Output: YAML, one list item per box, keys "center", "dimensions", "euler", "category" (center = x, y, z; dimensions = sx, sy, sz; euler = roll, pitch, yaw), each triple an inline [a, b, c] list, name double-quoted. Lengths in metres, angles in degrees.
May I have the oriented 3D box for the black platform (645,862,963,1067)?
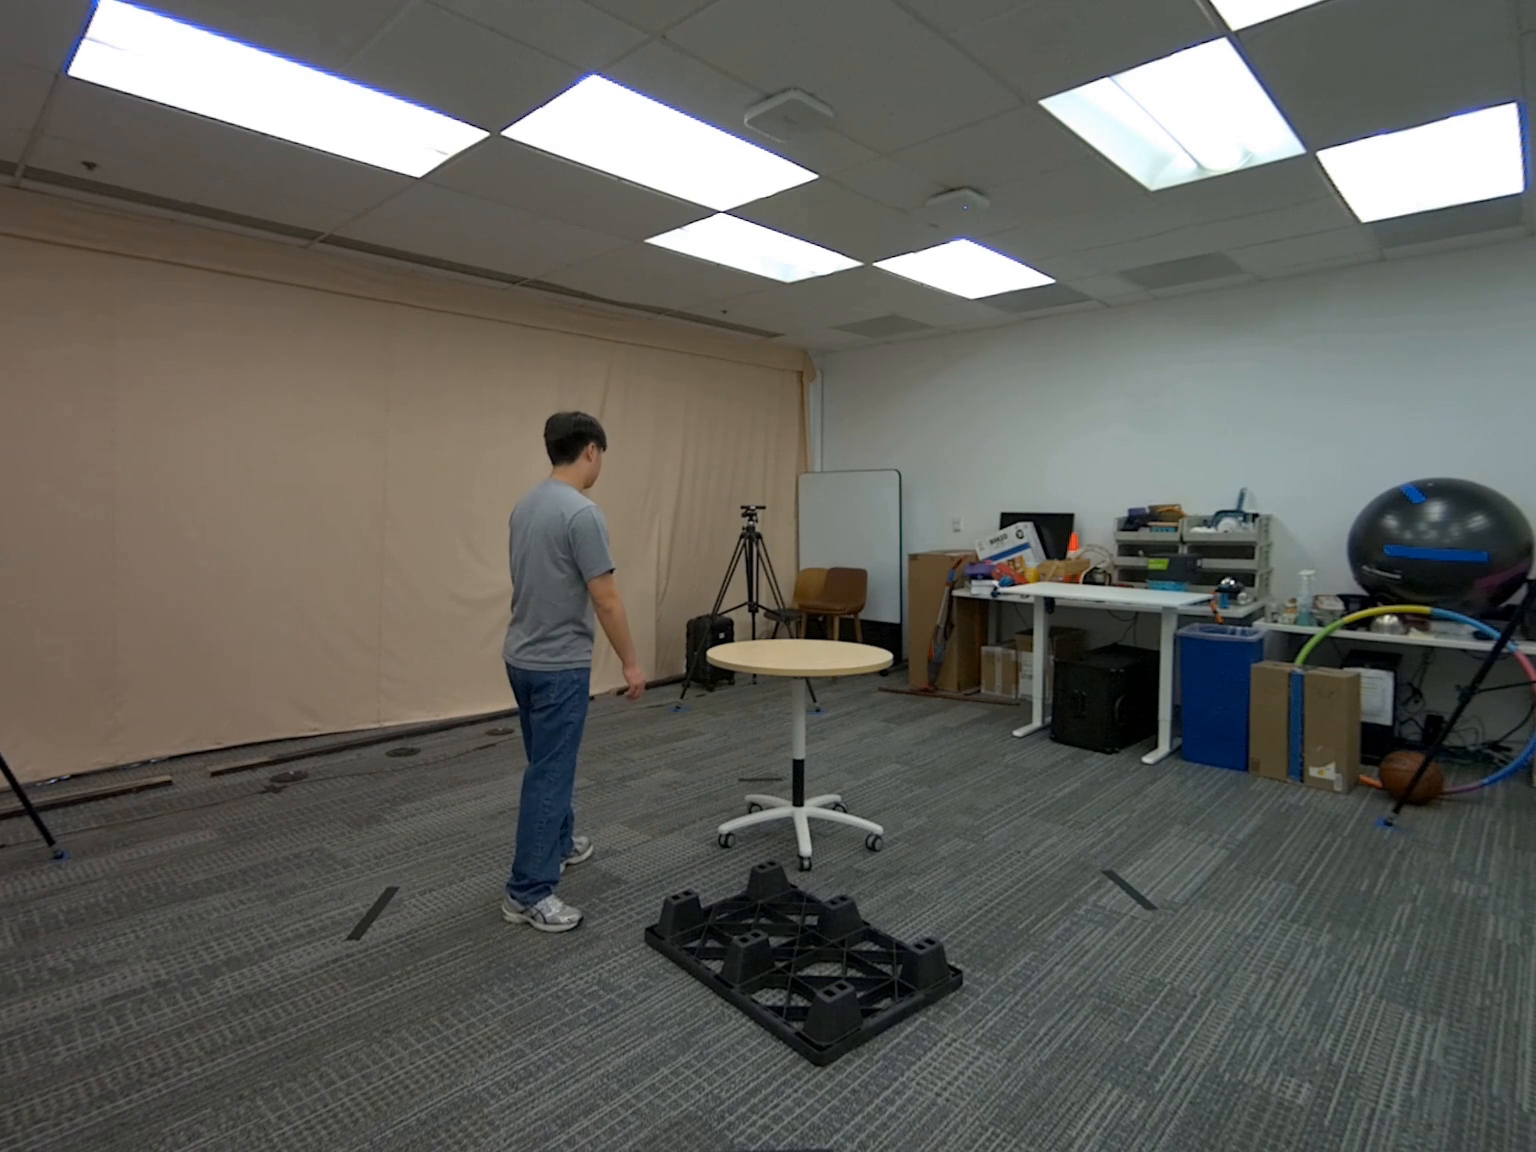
- center: [0.095, 1.113, 2.567]
  dimensions: [0.587, 0.143, 0.832]
  euler: [-5, 7, -40]
  category: "black platform"
